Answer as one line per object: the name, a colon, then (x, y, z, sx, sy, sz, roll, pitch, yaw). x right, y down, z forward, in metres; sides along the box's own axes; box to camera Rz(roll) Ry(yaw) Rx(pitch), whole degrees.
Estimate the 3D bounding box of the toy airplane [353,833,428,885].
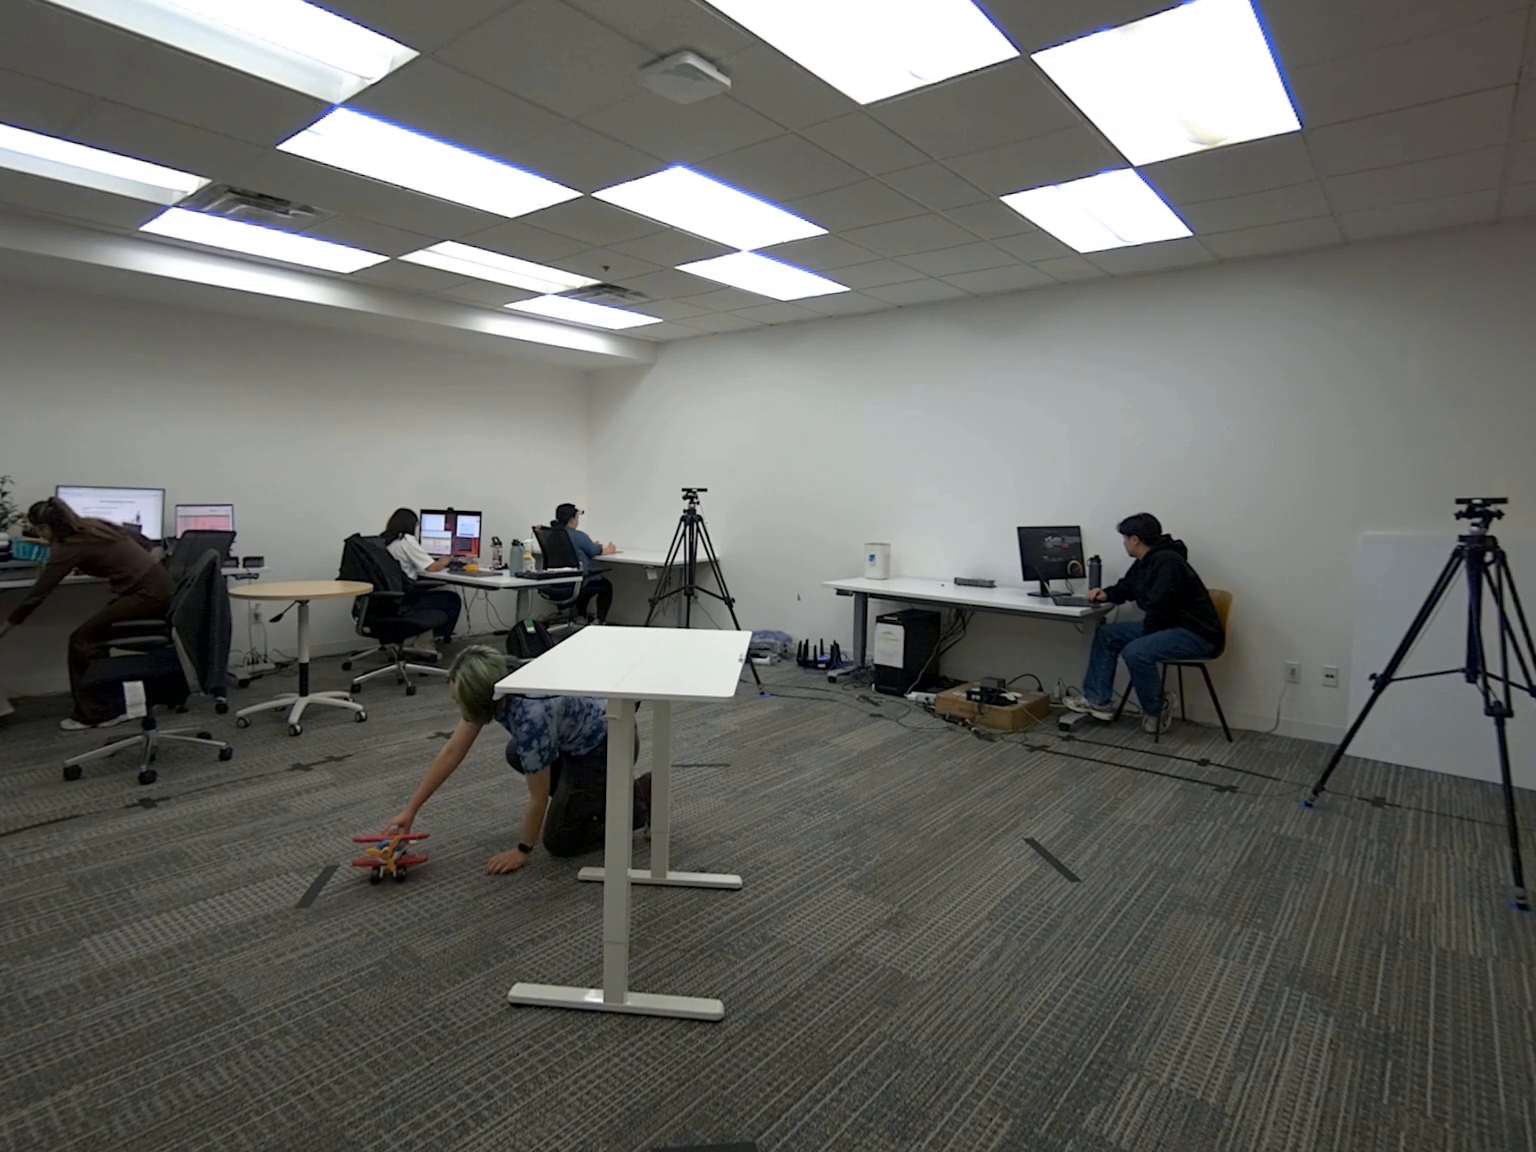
toy airplane: (-1.392, 0.990, 3.054, 0.244, 0.155, 0.268, -6, 9, -39)
